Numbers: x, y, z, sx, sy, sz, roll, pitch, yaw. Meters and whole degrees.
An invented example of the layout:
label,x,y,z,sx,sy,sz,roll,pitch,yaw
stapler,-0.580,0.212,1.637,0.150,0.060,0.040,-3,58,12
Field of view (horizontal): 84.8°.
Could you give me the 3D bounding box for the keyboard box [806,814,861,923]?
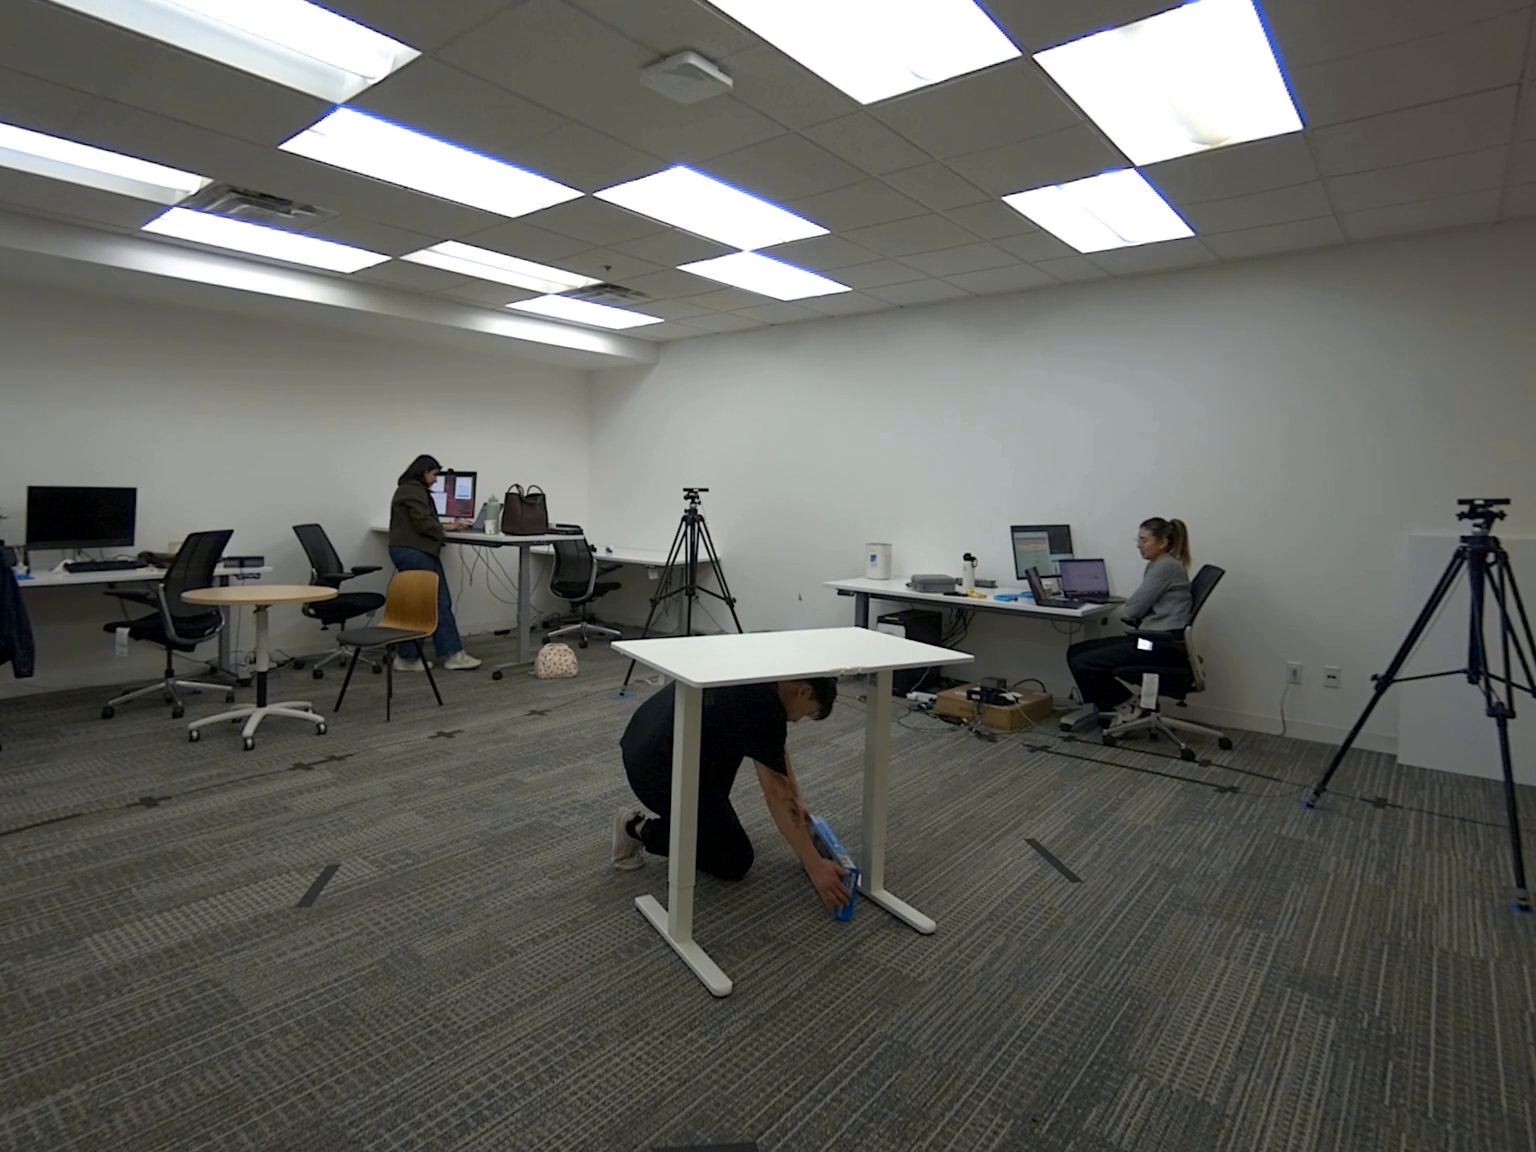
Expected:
label,x,y,z,sx,sy,sz,roll,pitch,yaw
keyboard box,0.199,0.997,2.965,0.058,0.175,0.444,10,4,-13
